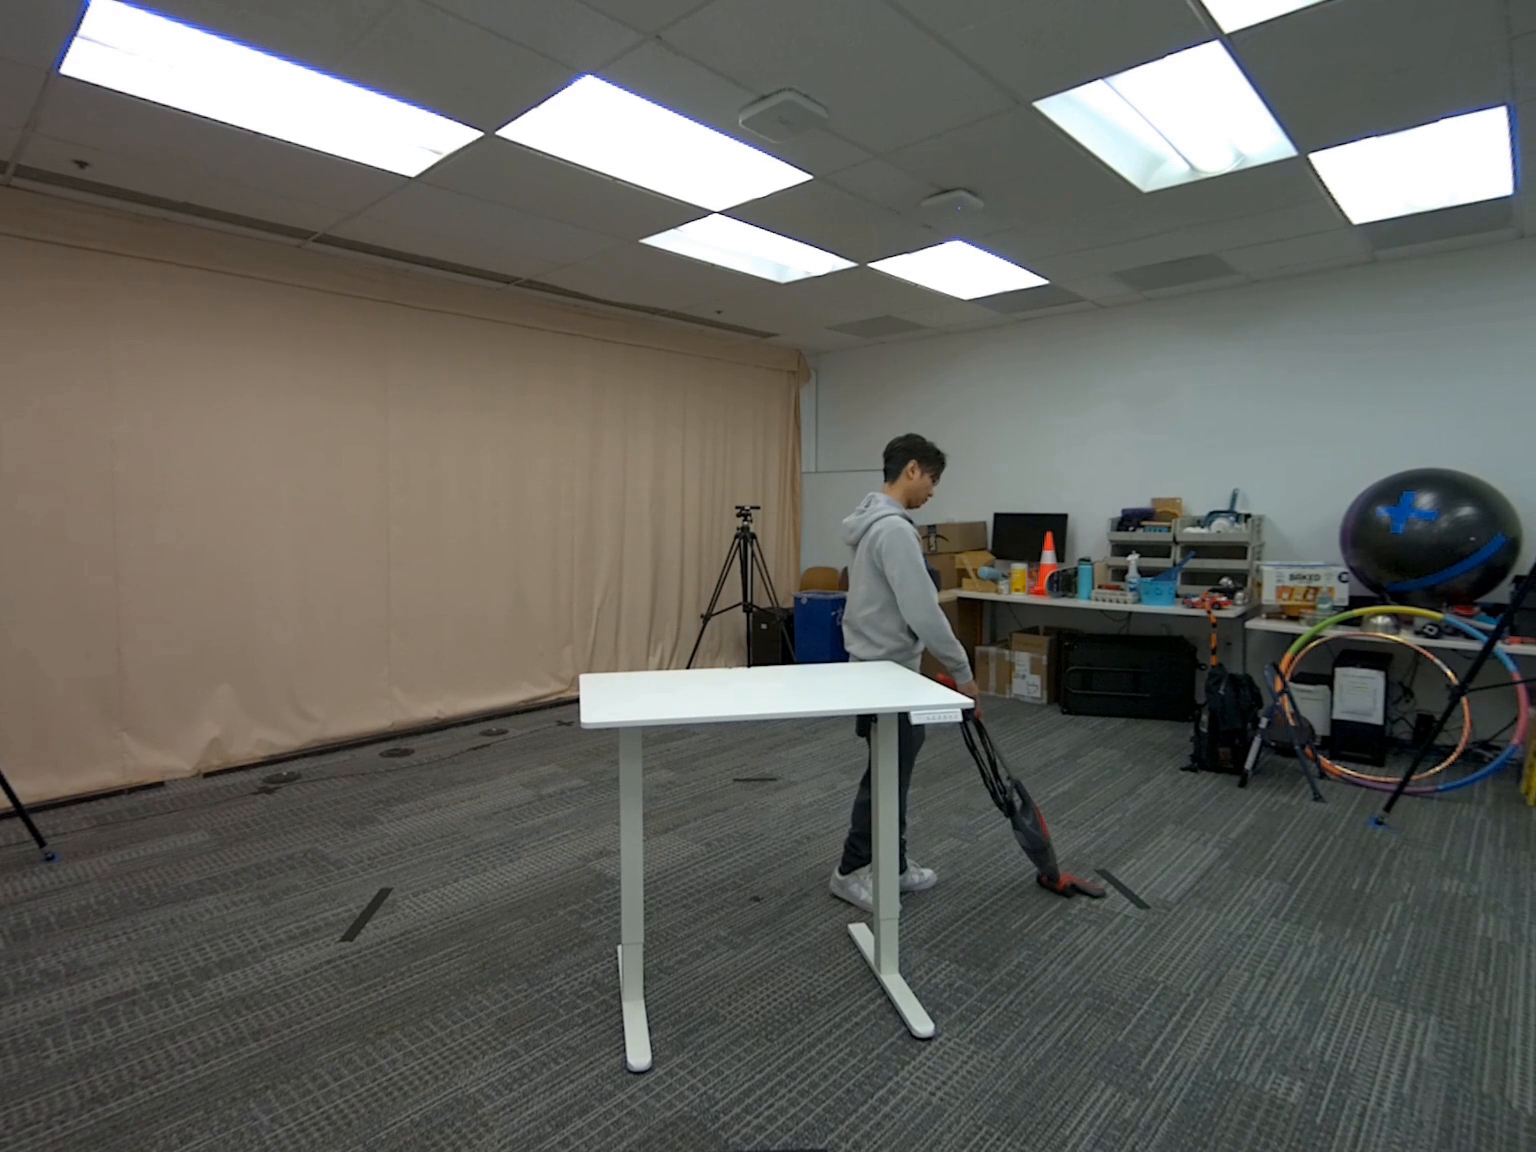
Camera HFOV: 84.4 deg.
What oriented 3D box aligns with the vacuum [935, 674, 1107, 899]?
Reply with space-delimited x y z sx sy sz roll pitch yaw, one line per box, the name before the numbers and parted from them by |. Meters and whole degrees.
vacuum | 0.828 0.727 2.873 0.143 1.025 0.260 -44 25 -27
